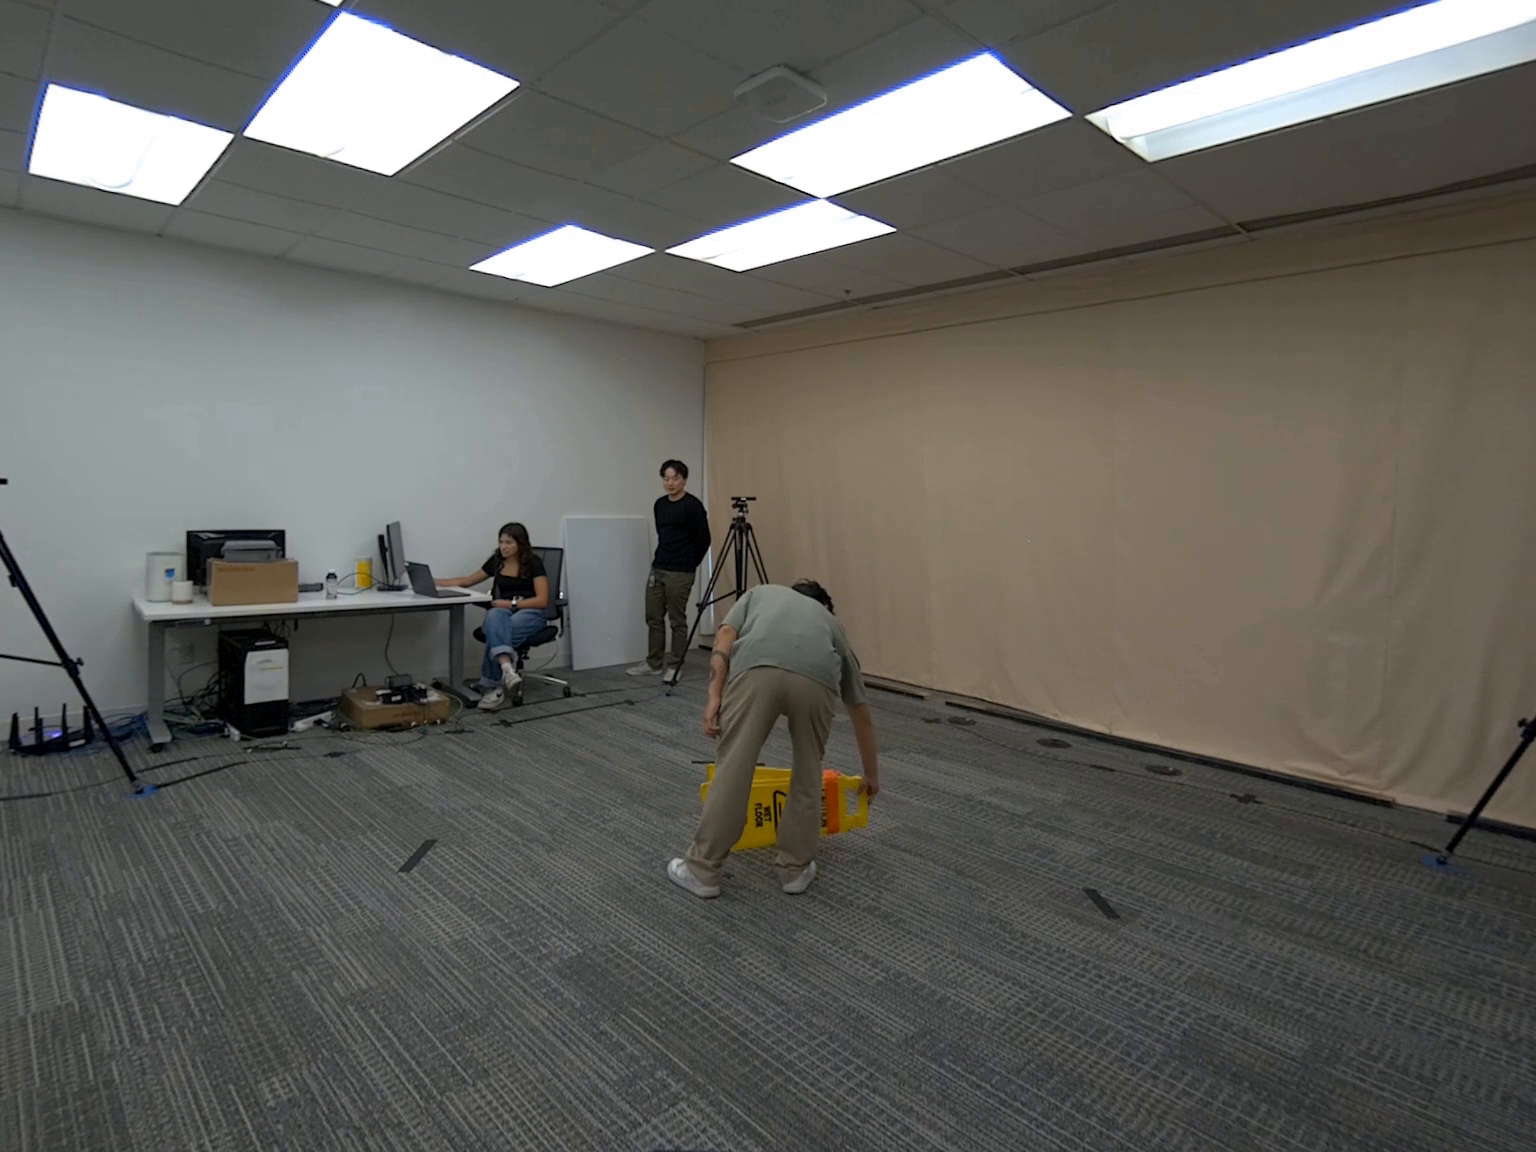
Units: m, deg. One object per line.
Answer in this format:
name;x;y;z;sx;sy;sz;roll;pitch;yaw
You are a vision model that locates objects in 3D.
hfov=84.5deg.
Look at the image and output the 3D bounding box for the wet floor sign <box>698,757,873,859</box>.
wet floor sign;0.067;0.922;3.384;0.648;0.281;0.290;-3;5;4
